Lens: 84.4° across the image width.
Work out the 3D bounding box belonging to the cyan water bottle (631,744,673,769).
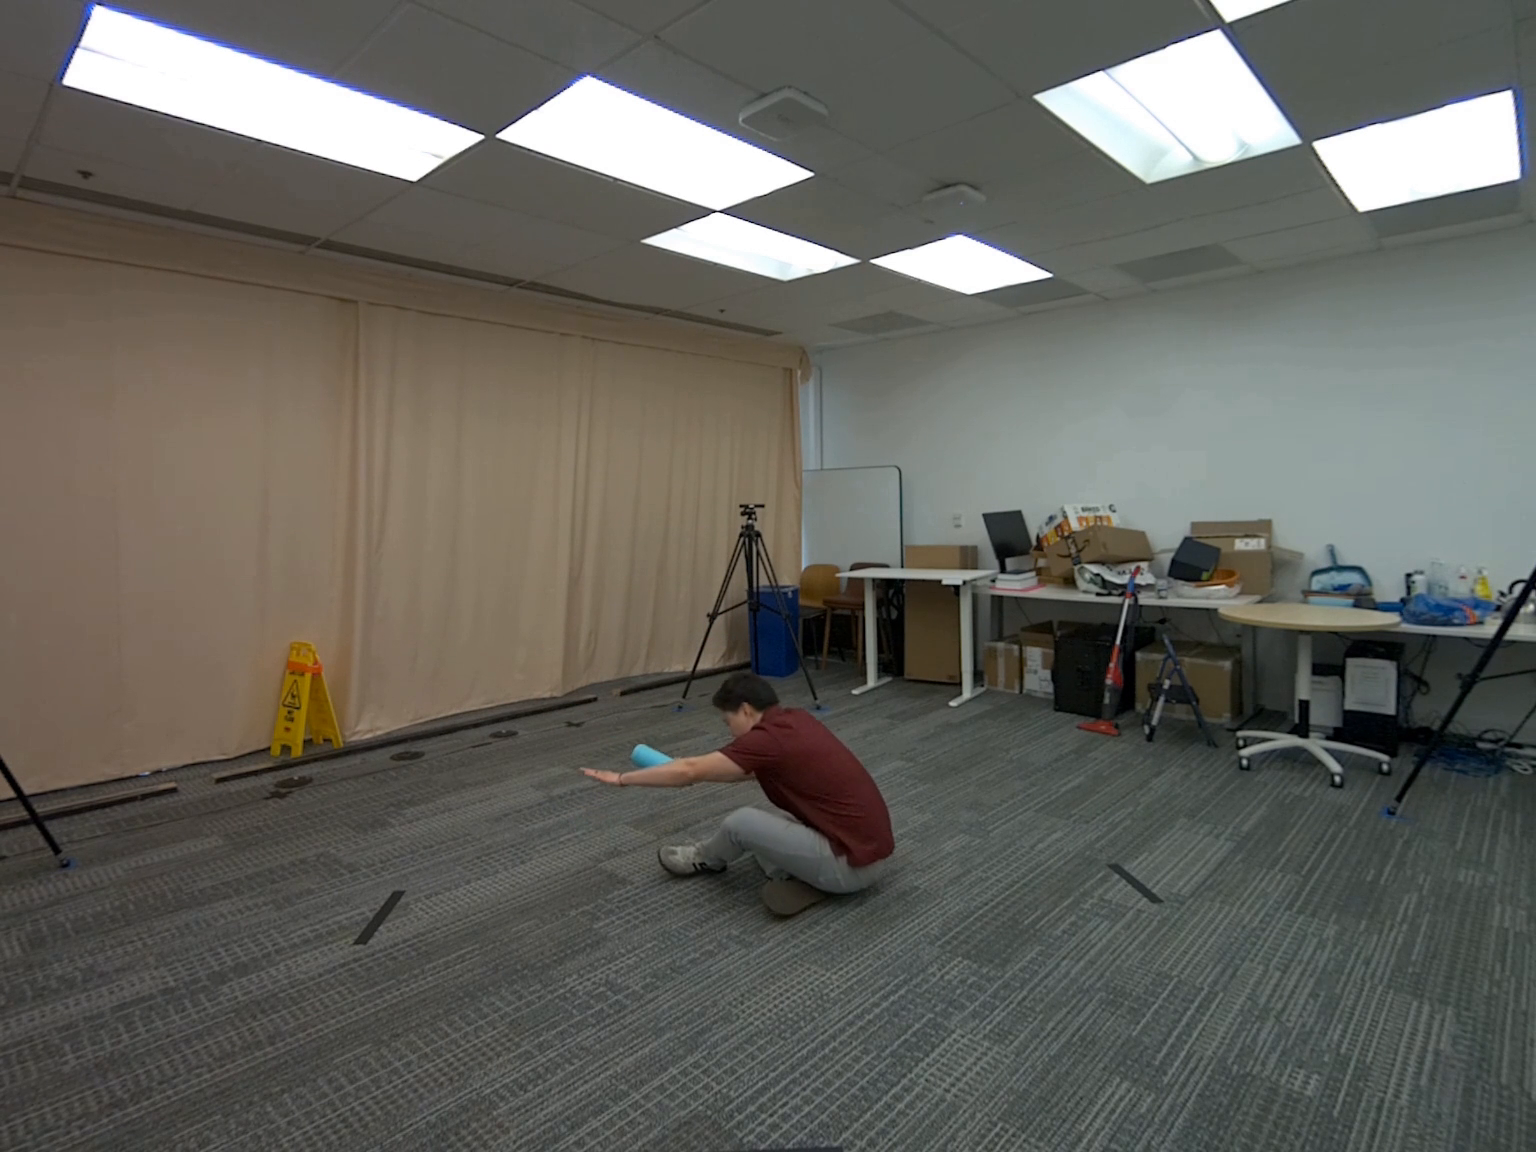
[{"bbox_3d":[-0.420,0.777,3.431,0.293,0.092,0.090,18,13,33],"label":"cyan water bottle"}]
